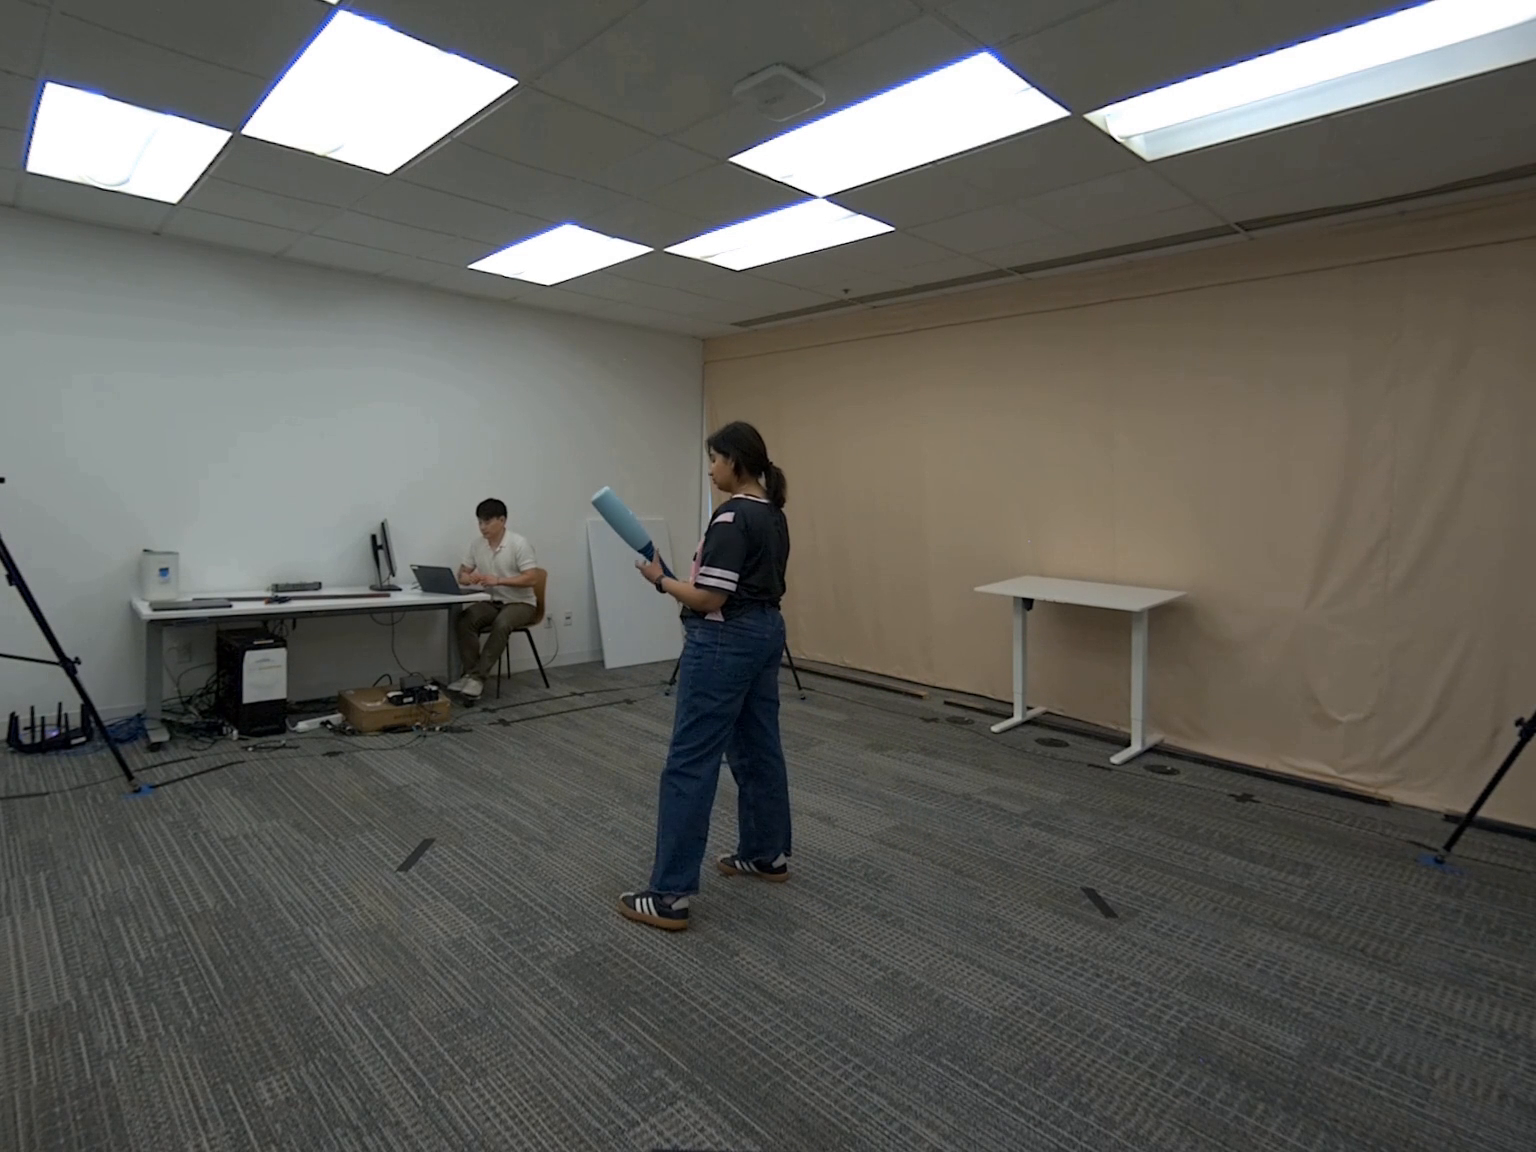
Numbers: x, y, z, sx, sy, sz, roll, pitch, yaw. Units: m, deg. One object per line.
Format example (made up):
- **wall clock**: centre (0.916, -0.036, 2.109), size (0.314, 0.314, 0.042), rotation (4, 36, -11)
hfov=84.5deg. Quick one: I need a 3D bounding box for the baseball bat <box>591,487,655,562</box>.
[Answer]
- **baseball bat**: centre (-0.447, -0.089, 3.044), size (0.089, 0.534, 0.090), rotation (-36, 16, 12)
